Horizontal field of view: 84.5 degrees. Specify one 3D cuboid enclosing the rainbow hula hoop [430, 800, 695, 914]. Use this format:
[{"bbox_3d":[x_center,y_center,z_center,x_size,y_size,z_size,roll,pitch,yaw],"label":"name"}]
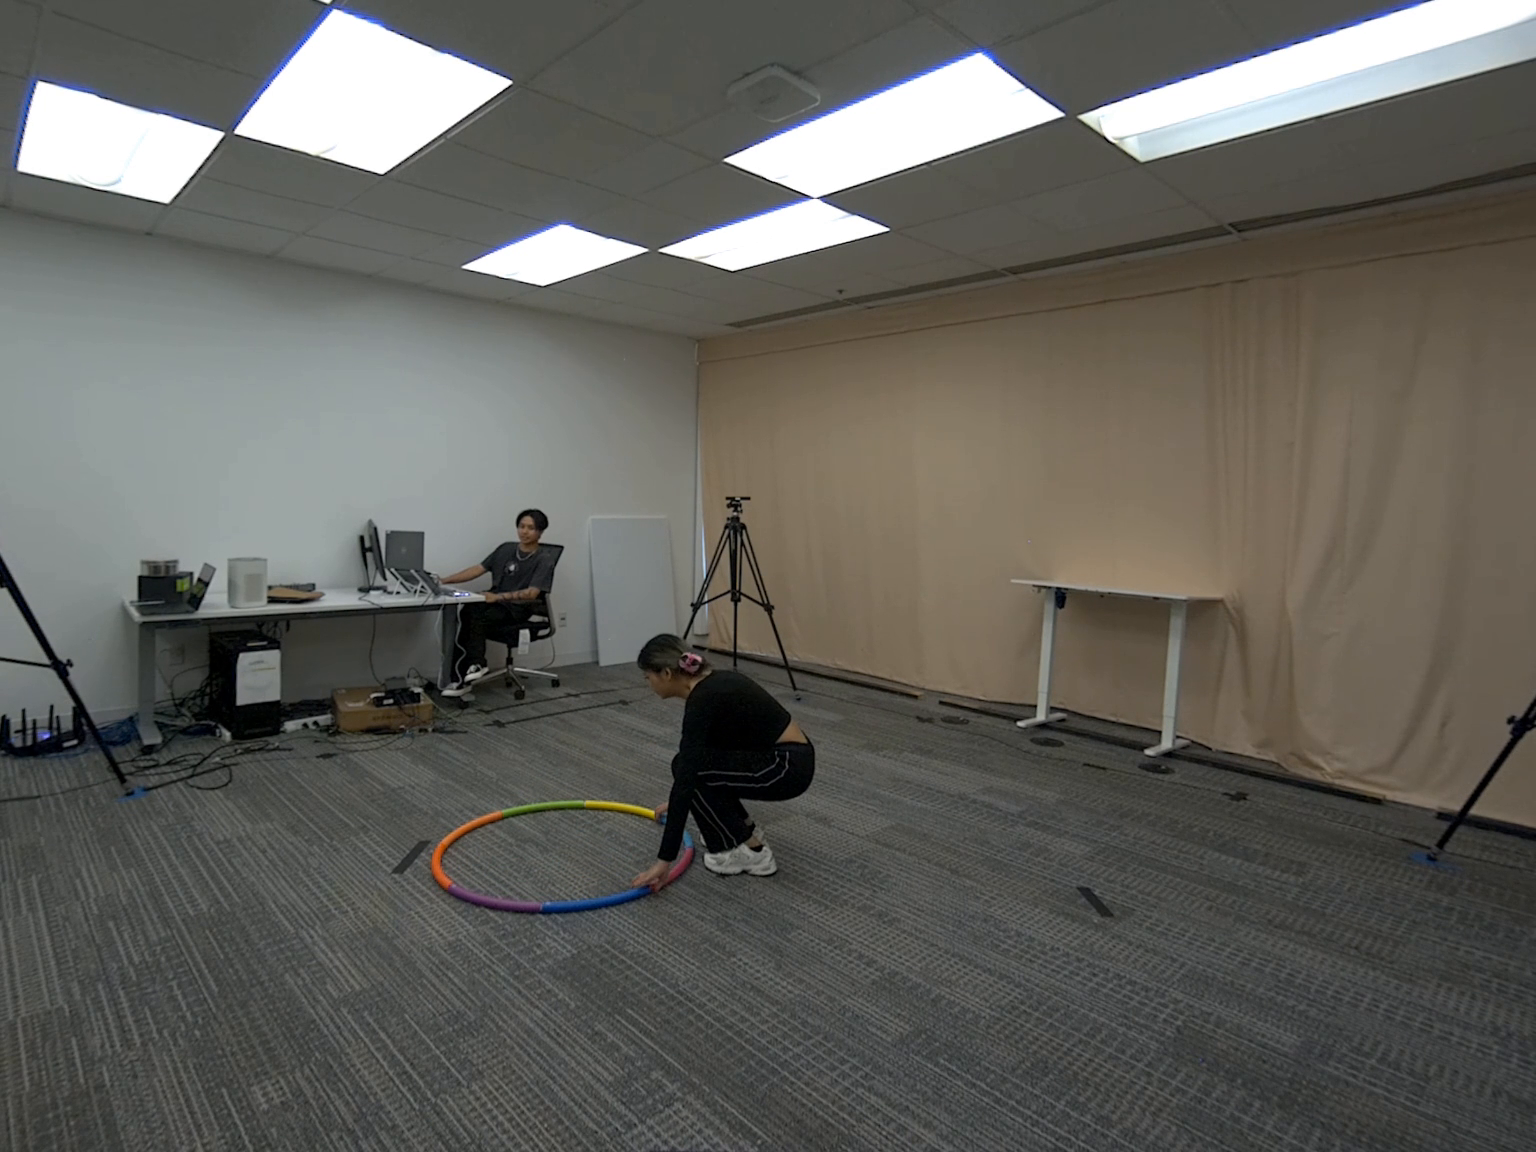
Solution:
[{"bbox_3d":[-0.787,1.050,3.269,0.978,0.035,0.982,2,5,-1],"label":"rainbow hula hoop"}]
